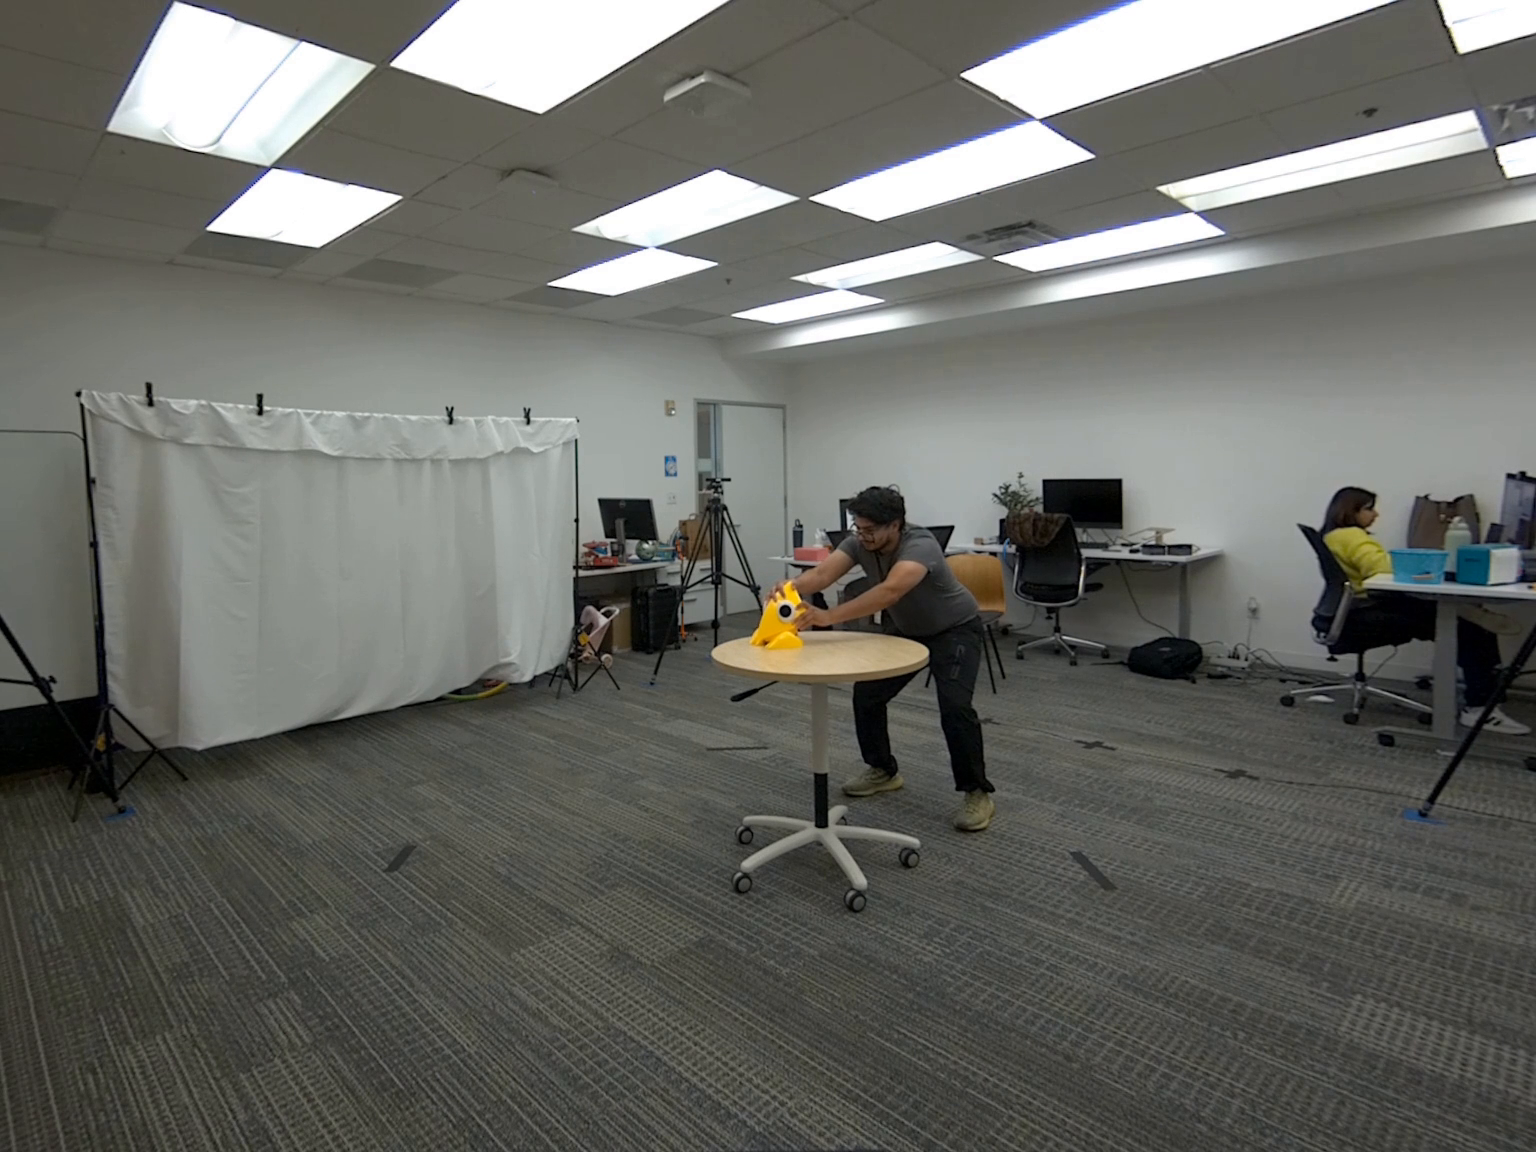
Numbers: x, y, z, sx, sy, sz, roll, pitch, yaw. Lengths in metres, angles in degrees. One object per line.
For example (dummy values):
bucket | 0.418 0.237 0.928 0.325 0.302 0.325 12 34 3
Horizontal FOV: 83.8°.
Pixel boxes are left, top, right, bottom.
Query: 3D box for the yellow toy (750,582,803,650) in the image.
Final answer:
yellow toy | 0.044 0.144 3.178 0.188 0.230 0.210 -3 4 -31
